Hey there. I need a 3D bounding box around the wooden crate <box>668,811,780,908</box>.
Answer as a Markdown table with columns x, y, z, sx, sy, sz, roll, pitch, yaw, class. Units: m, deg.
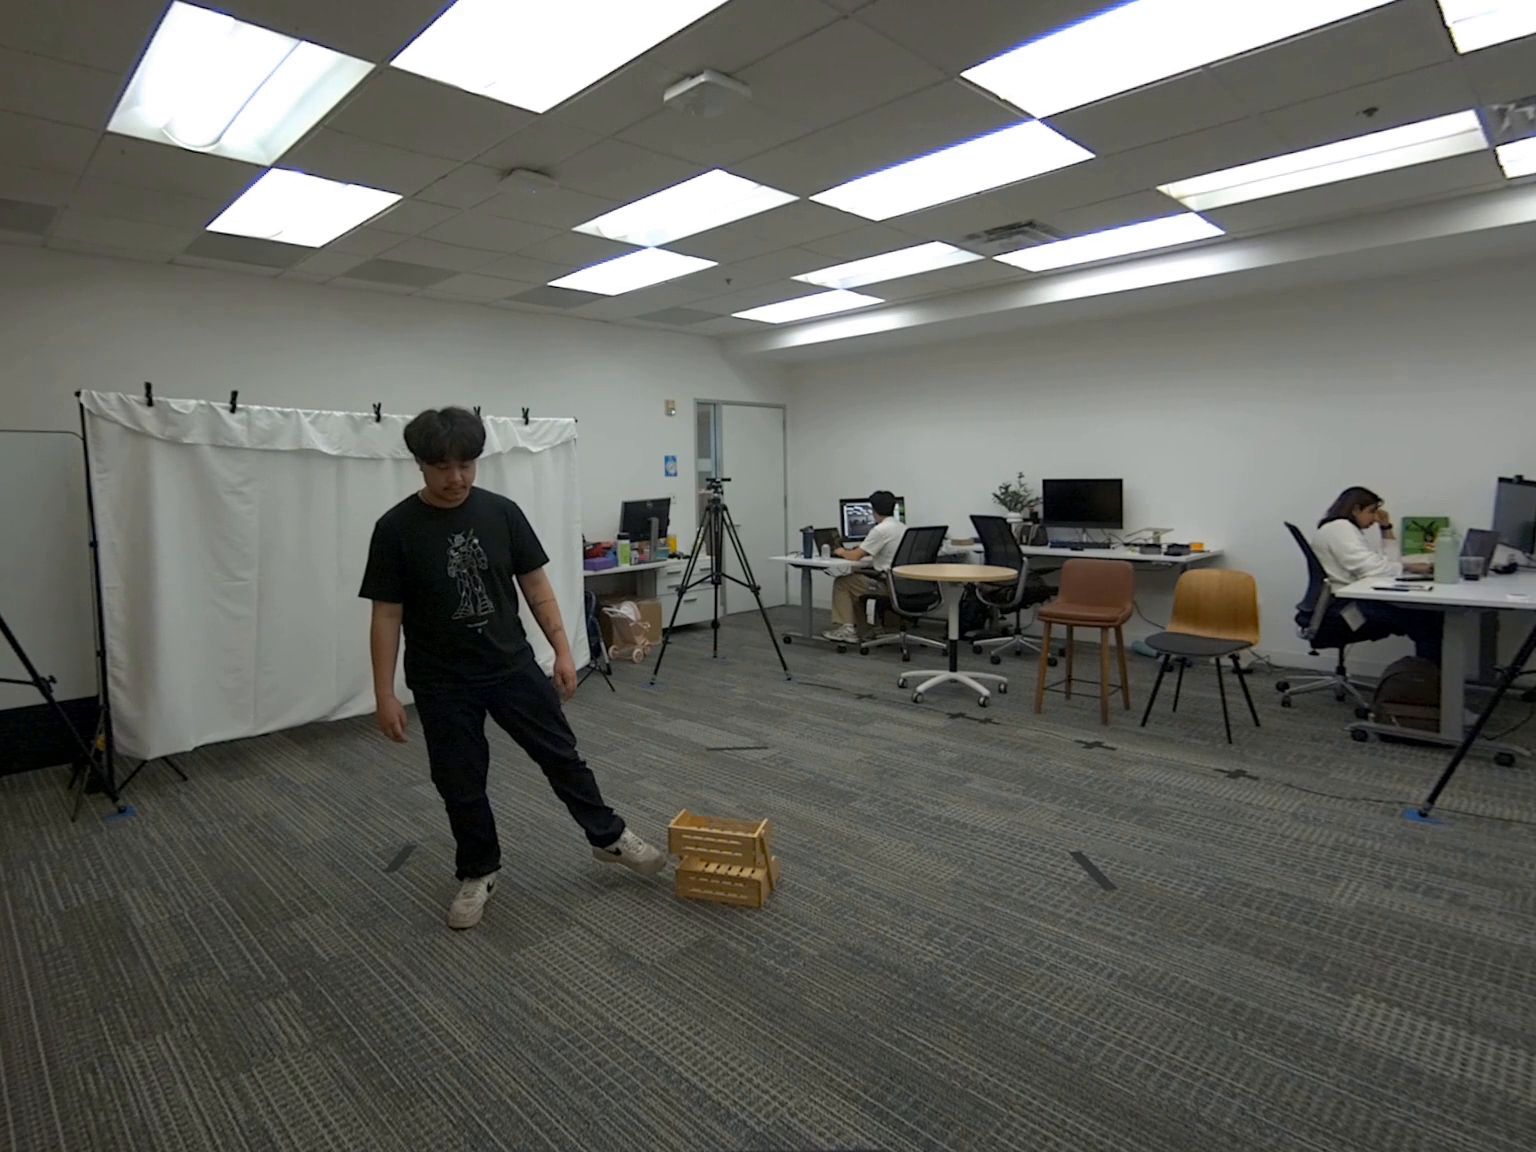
| x | y | z | sx | sy | sz | roll | pitch | yaw | class |
| --- | --- | --- | --- | --- | --- | --- | --- | --- | --- |
| -0.144 | 0.929 | 2.915 | 0.330 | 0.272 | 0.299 | 1 | 6 | 16 | wooden crate |
